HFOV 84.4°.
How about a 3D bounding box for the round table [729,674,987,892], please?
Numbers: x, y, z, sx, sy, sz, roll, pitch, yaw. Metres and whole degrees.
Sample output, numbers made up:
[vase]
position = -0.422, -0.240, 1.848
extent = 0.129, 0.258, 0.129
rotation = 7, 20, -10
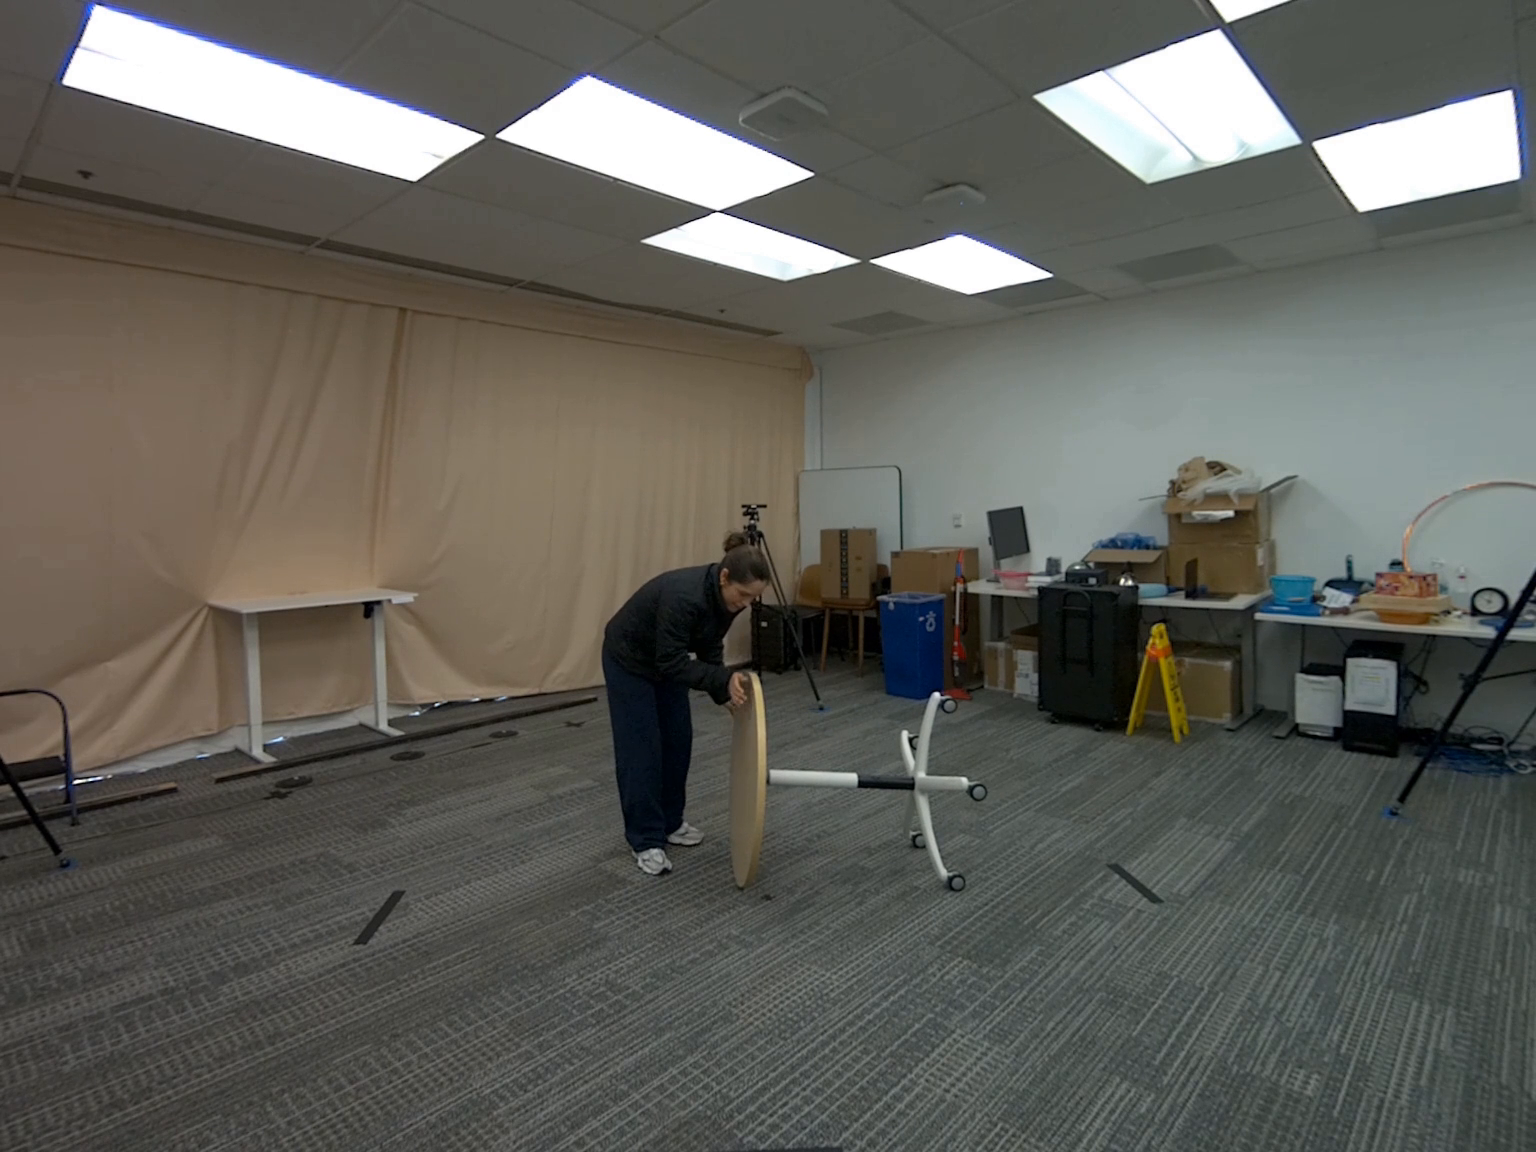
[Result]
[round table]
position = 0.312, 0.783, 3.166
extent = 0.781, 0.784, 0.792
rotation = 4, 3, -7
